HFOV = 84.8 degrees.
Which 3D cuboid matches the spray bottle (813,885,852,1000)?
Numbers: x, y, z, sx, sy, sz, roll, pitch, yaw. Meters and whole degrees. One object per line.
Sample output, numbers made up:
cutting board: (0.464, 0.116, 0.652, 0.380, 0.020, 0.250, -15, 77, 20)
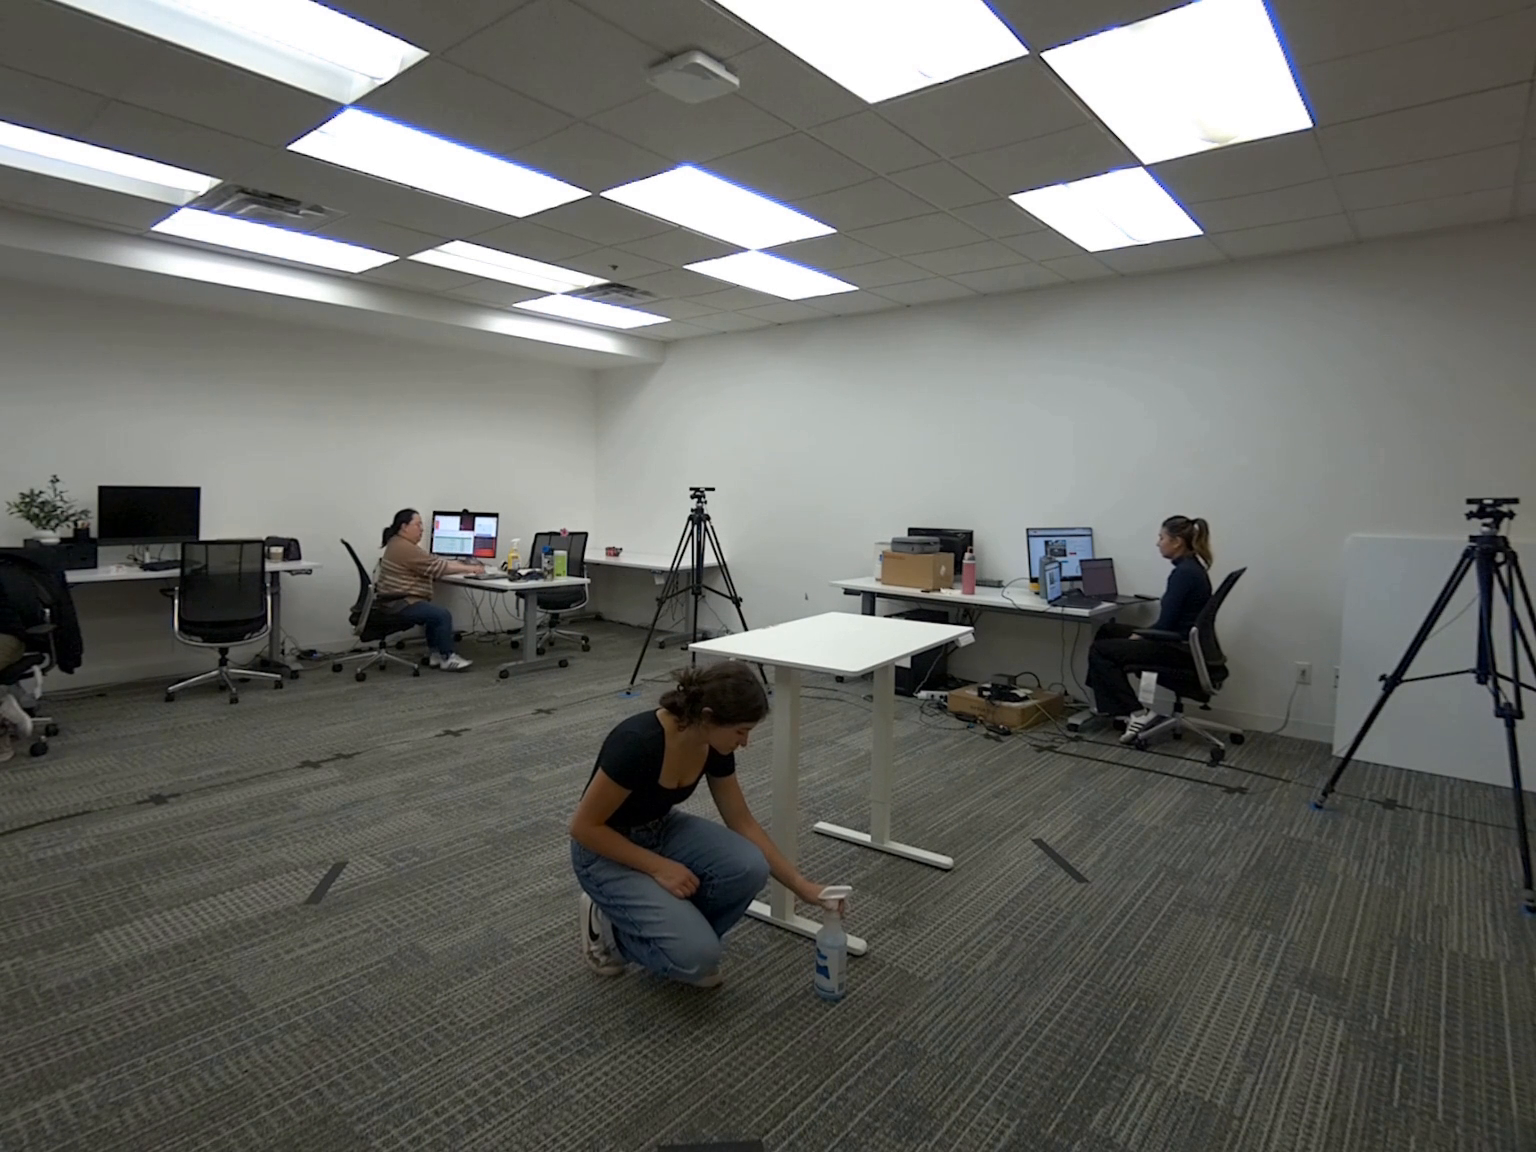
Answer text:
spray bottle: (0.170, 1.009, 2.345, 0.092, 0.297, 0.085, 4, 3, 20)
